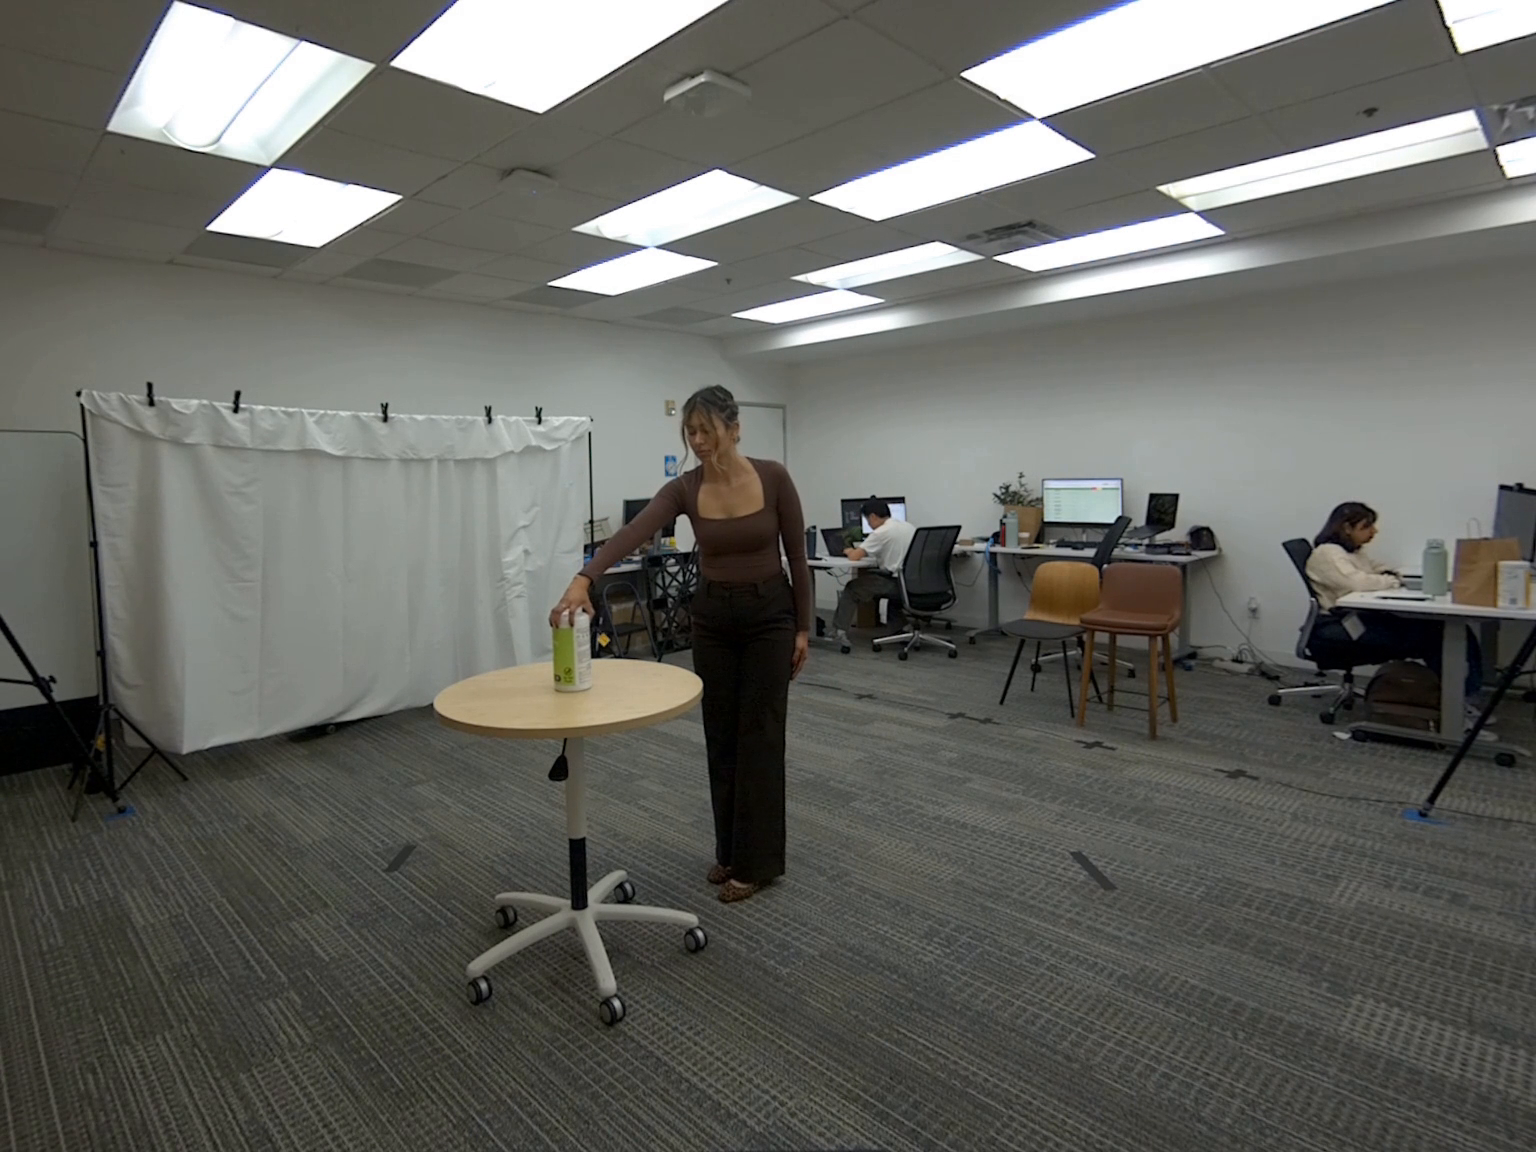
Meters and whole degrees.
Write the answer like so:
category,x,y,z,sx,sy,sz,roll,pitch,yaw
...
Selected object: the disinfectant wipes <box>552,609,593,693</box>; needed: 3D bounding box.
category,x,y,z,sx,sy,sz,roll,pitch,yaw
disinfectant wipes,-0.571,0.221,2.485,0.118,0.216,0.118,0,5,-2
